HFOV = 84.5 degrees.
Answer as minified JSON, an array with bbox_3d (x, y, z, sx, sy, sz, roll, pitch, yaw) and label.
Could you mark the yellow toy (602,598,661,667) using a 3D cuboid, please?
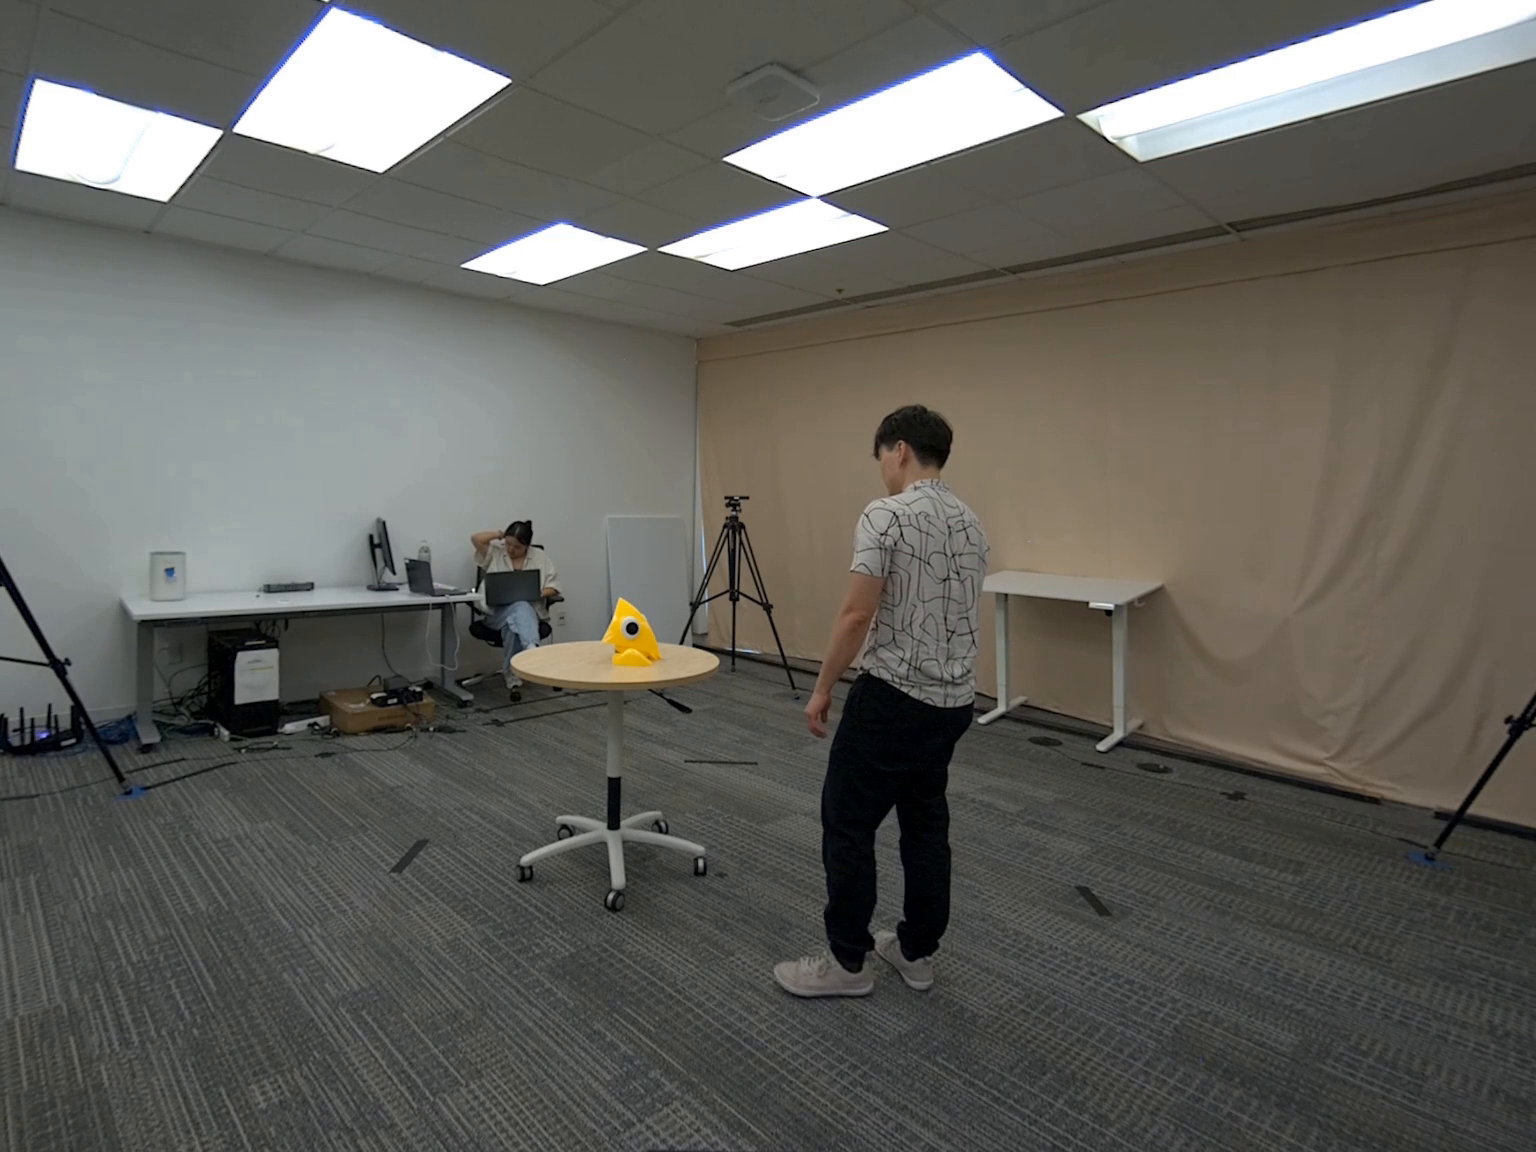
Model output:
[{"bbox_3d":[-0.501,0.200,3.104,0.195,0.230,0.203,3,4,11],"label":"yellow toy"}]
